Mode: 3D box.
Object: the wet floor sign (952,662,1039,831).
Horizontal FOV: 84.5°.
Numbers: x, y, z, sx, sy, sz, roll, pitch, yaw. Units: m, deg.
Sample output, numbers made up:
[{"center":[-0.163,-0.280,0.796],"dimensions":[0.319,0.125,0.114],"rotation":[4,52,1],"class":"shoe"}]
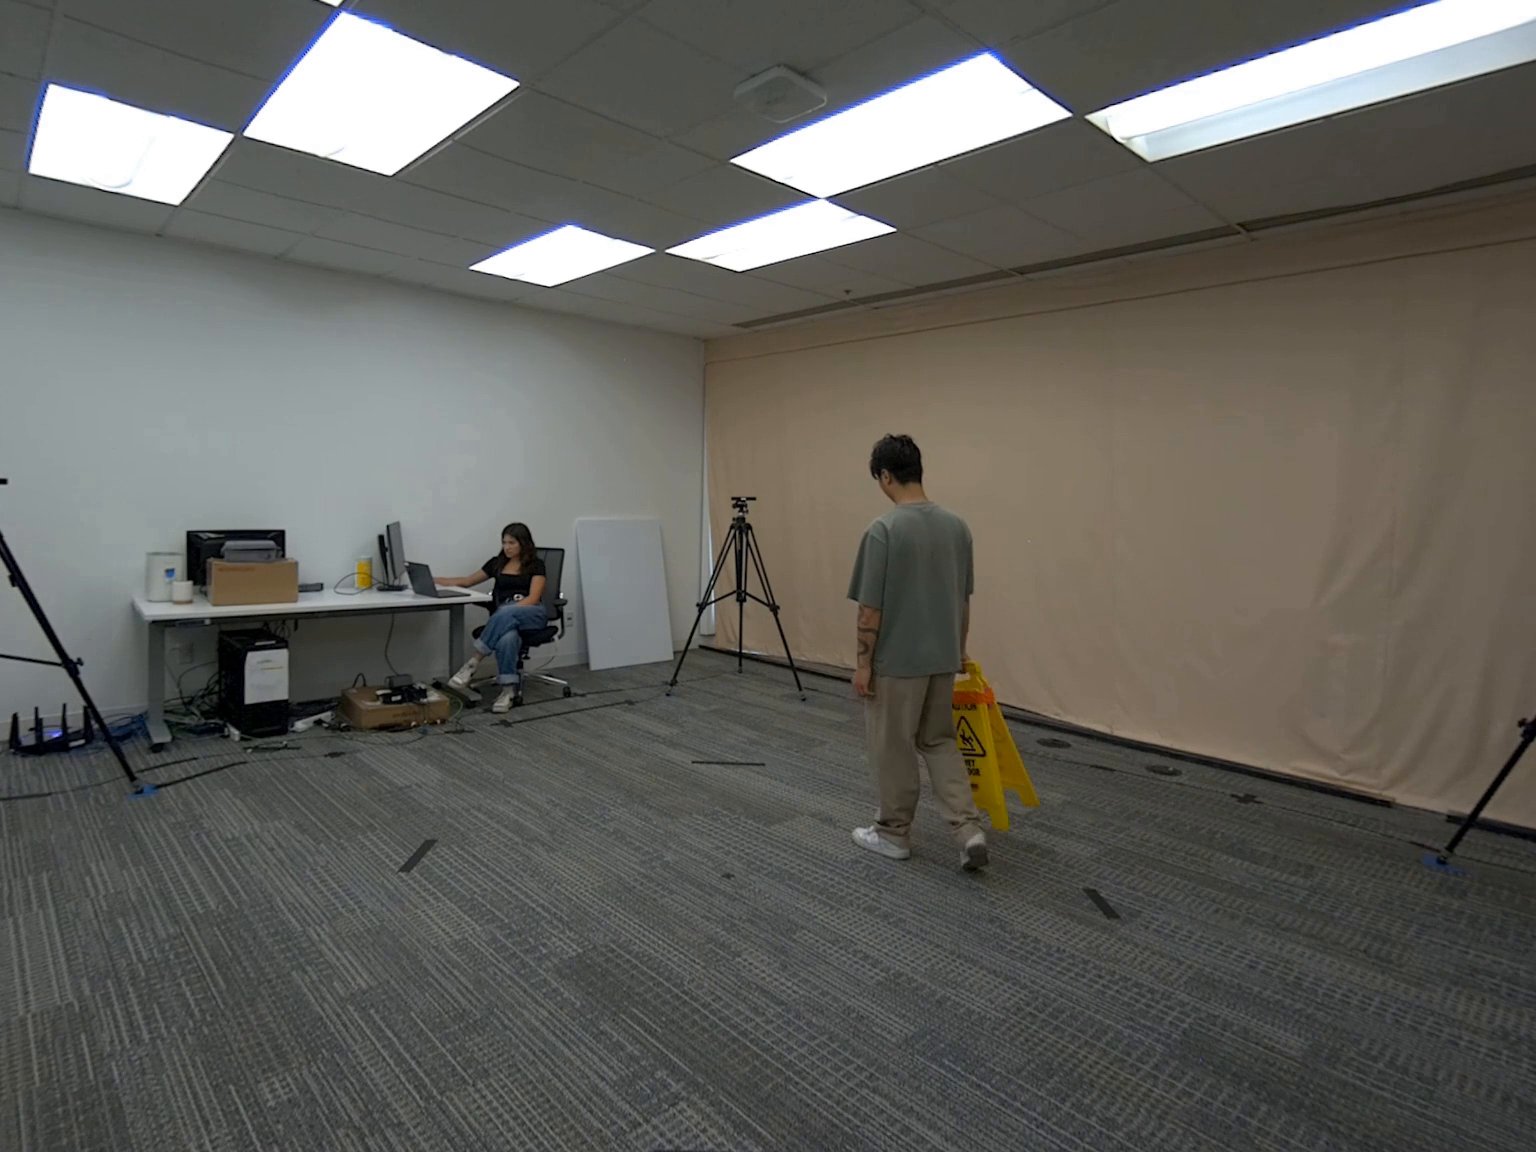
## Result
[{"center":[0.835,0.664,3.457],"dimensions":[0.285,0.646,0.287],"rotation":[-15,1,-40],"class":"wet floor sign"}]
